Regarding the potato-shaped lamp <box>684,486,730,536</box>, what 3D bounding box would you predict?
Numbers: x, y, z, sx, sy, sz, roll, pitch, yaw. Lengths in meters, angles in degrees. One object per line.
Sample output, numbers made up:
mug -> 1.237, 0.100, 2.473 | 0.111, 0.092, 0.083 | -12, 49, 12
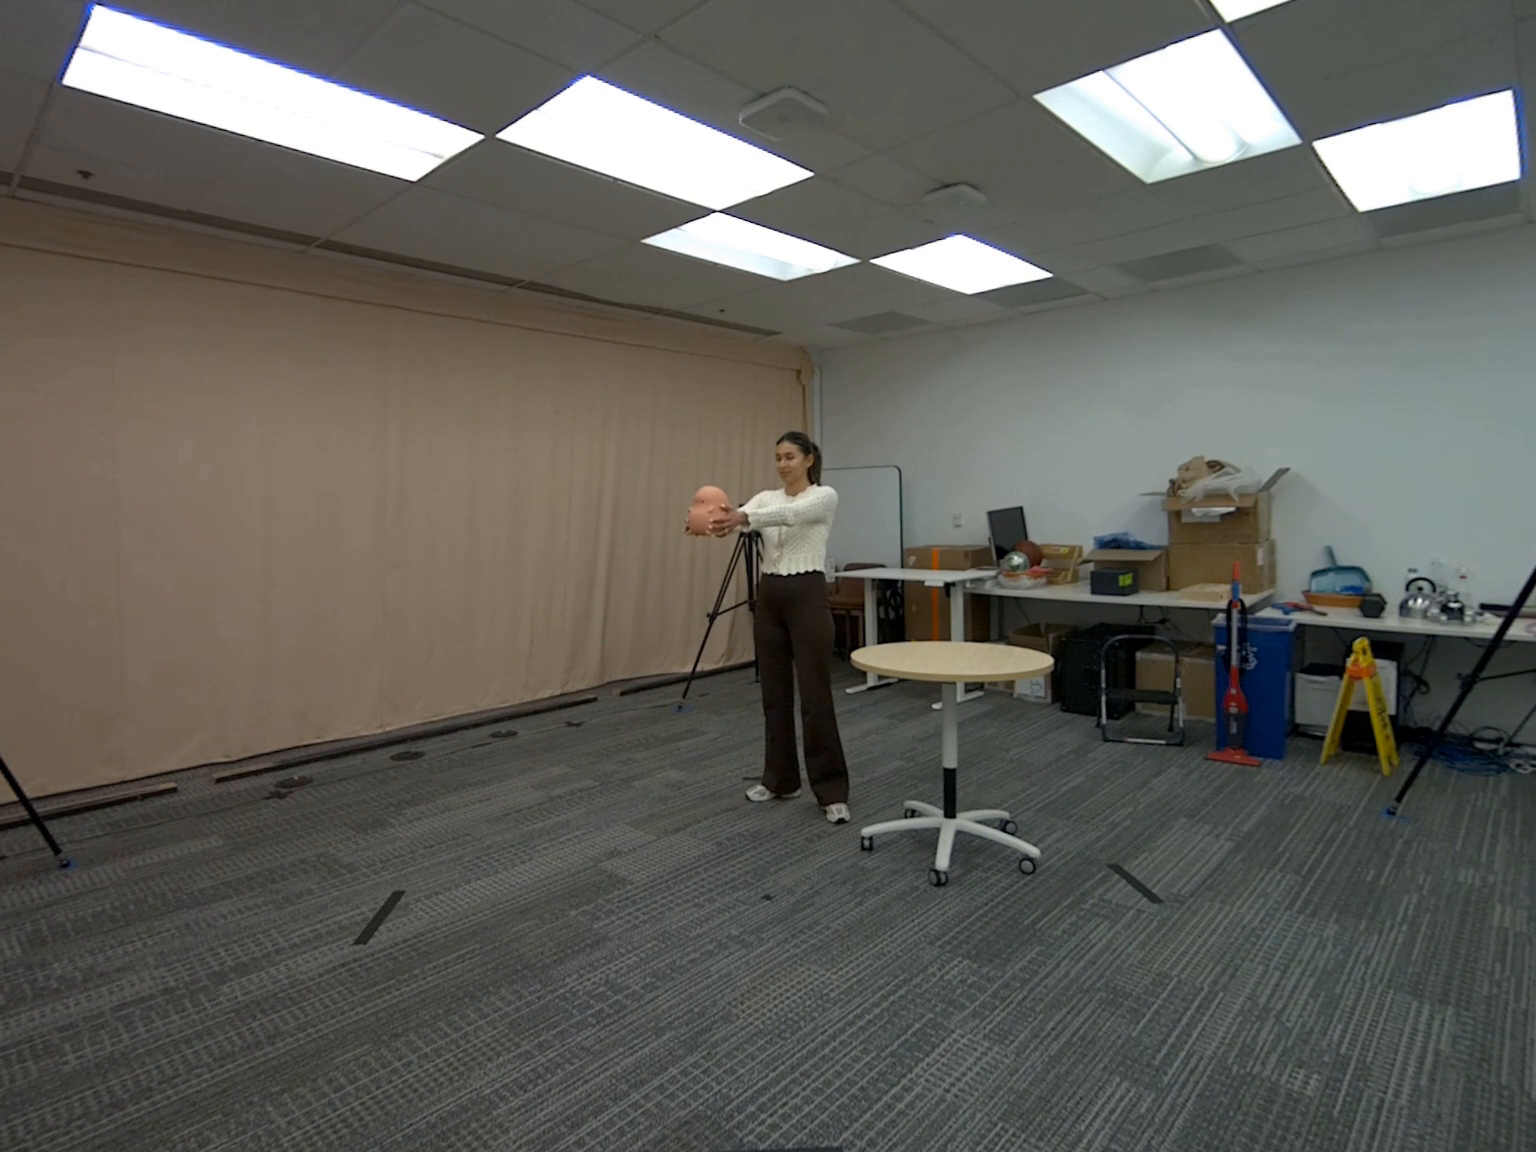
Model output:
potato-shaped lamp -> -0.235, -0.269, 3.430 | 0.167, 0.197, 0.170 | -13, 14, -40
